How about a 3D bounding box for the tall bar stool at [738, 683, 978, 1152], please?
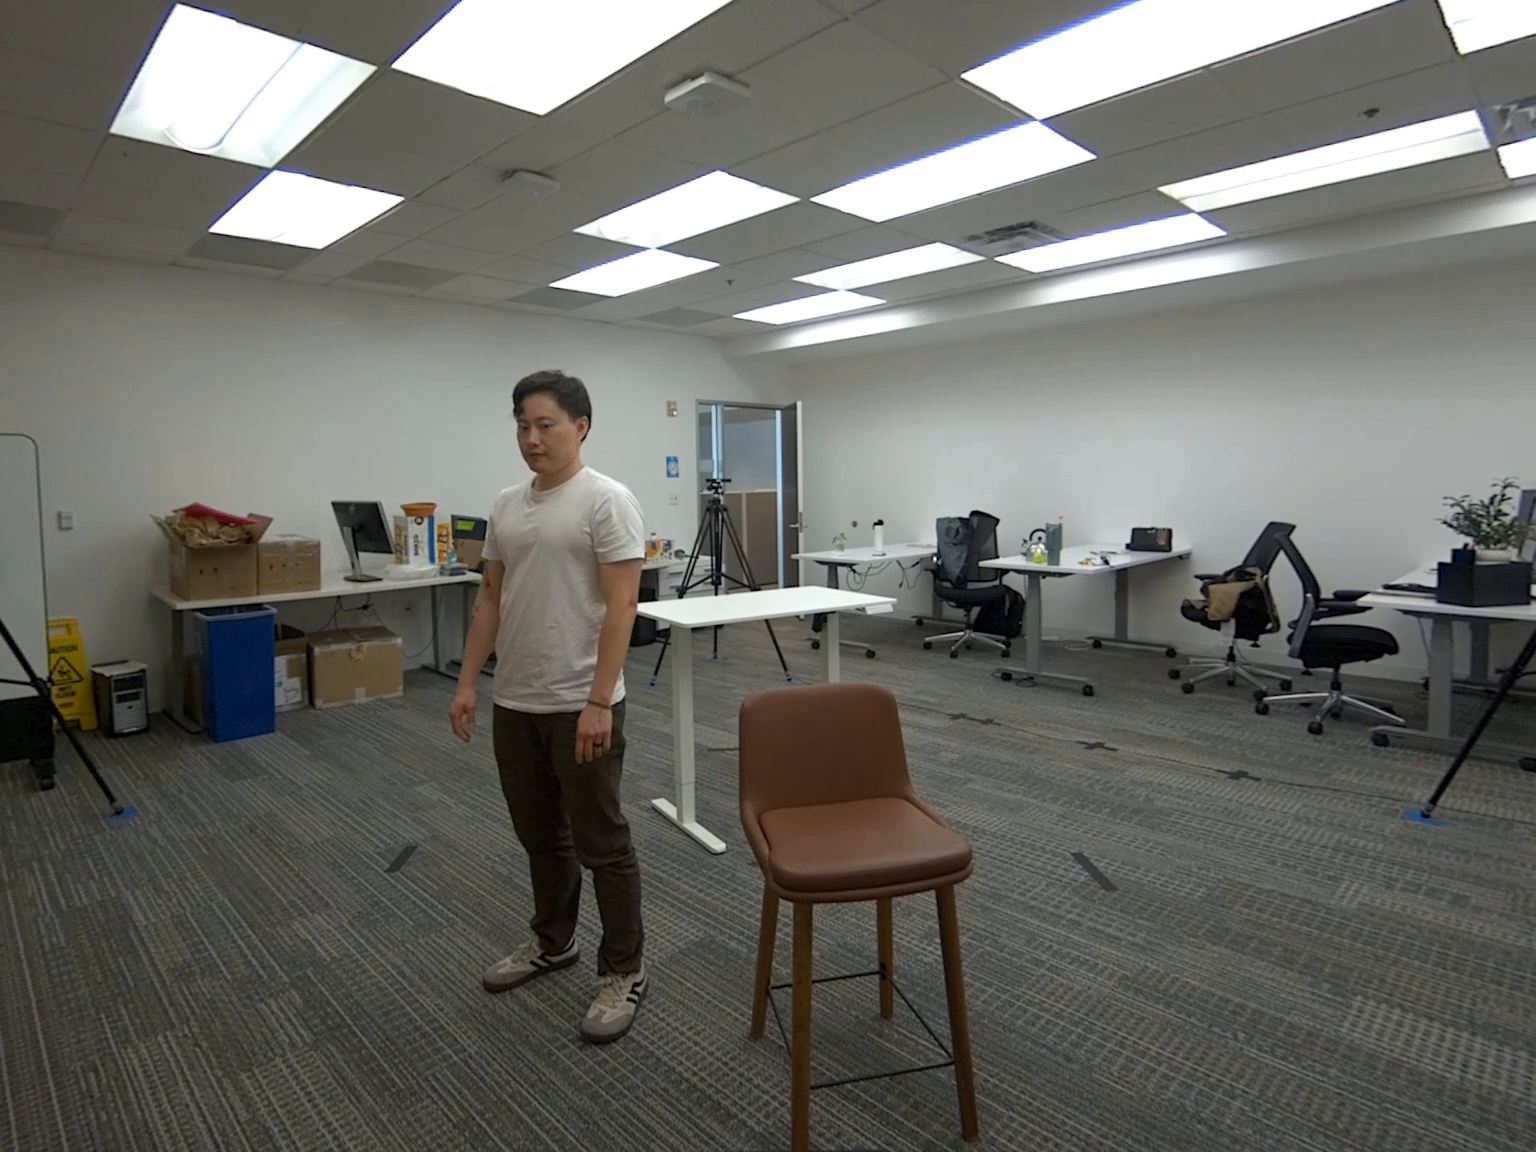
[{"bbox_3d":[0.185,0.739,1.962,0.451,0.888,0.474,-3,3,-13],"label":"tall bar stool"}]
